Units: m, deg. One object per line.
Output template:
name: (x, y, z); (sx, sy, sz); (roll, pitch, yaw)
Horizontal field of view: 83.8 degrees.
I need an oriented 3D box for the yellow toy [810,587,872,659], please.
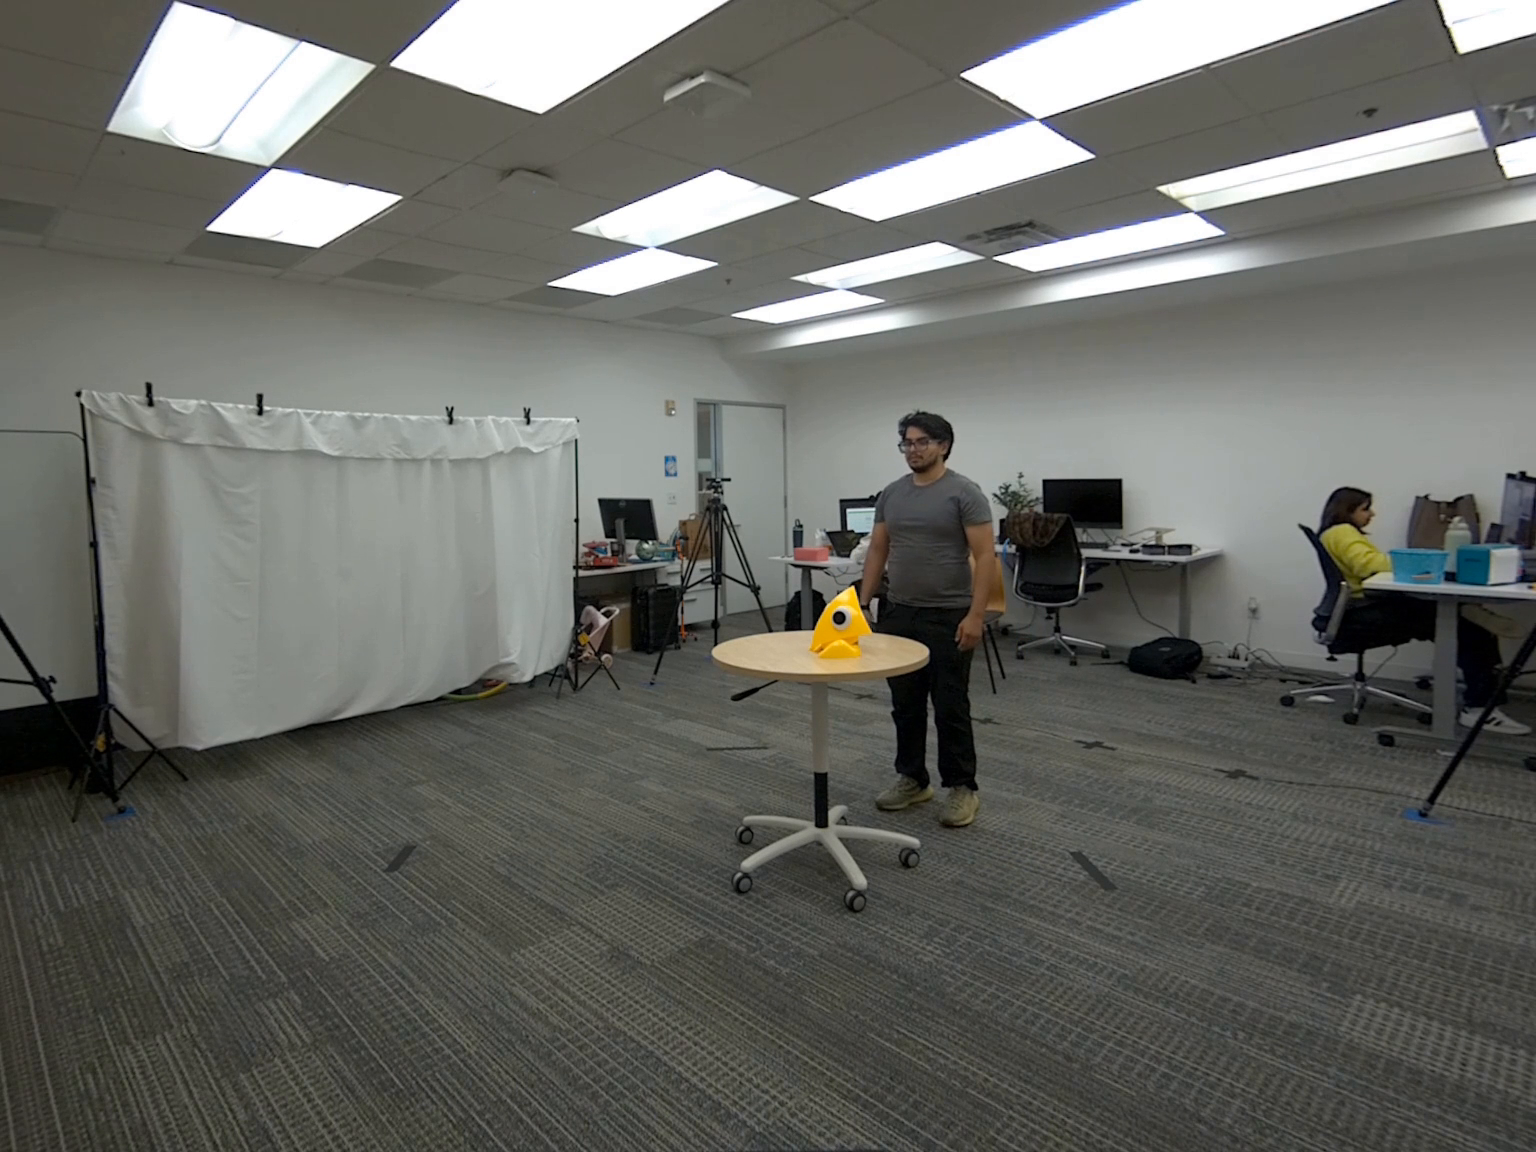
yellow toy: (0.243, 0.152, 2.981); (0.191, 0.230, 0.208); (-2, 5, -12)
